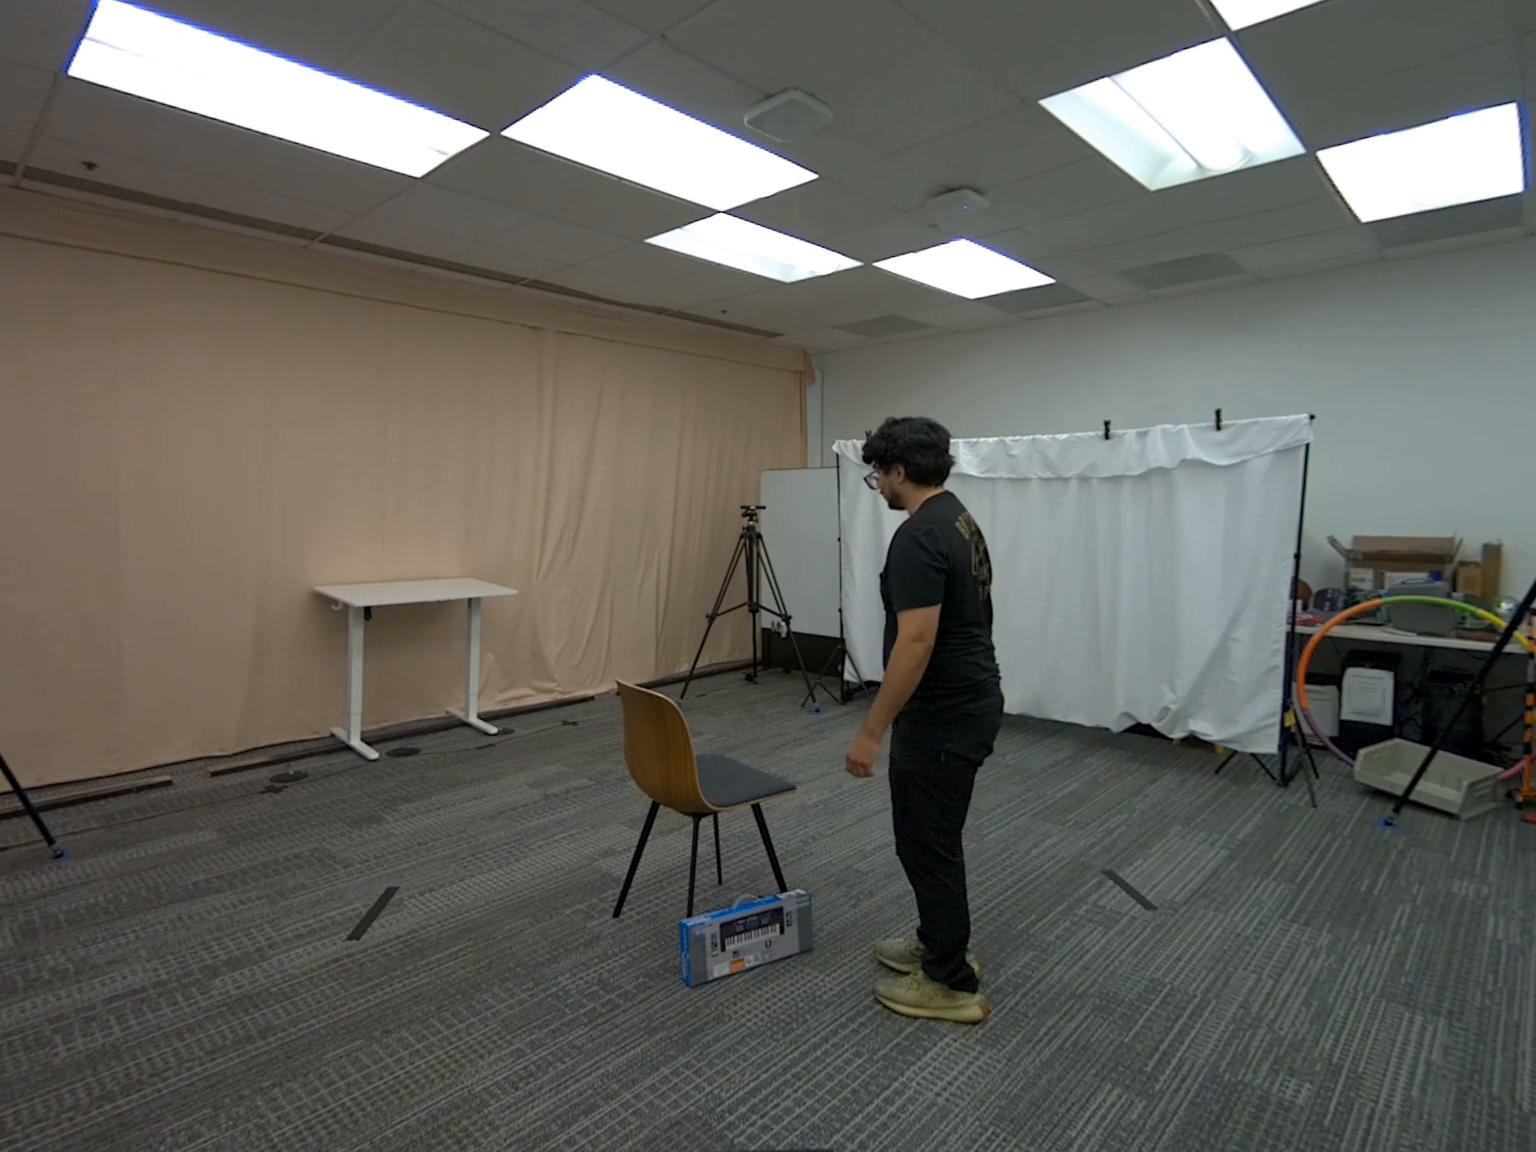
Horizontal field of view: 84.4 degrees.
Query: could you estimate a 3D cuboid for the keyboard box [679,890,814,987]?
[{"bbox_3d":[-0.052,1.099,2.554,0.425,0.176,0.060,-3,-2,-30],"label":"keyboard box"}]
